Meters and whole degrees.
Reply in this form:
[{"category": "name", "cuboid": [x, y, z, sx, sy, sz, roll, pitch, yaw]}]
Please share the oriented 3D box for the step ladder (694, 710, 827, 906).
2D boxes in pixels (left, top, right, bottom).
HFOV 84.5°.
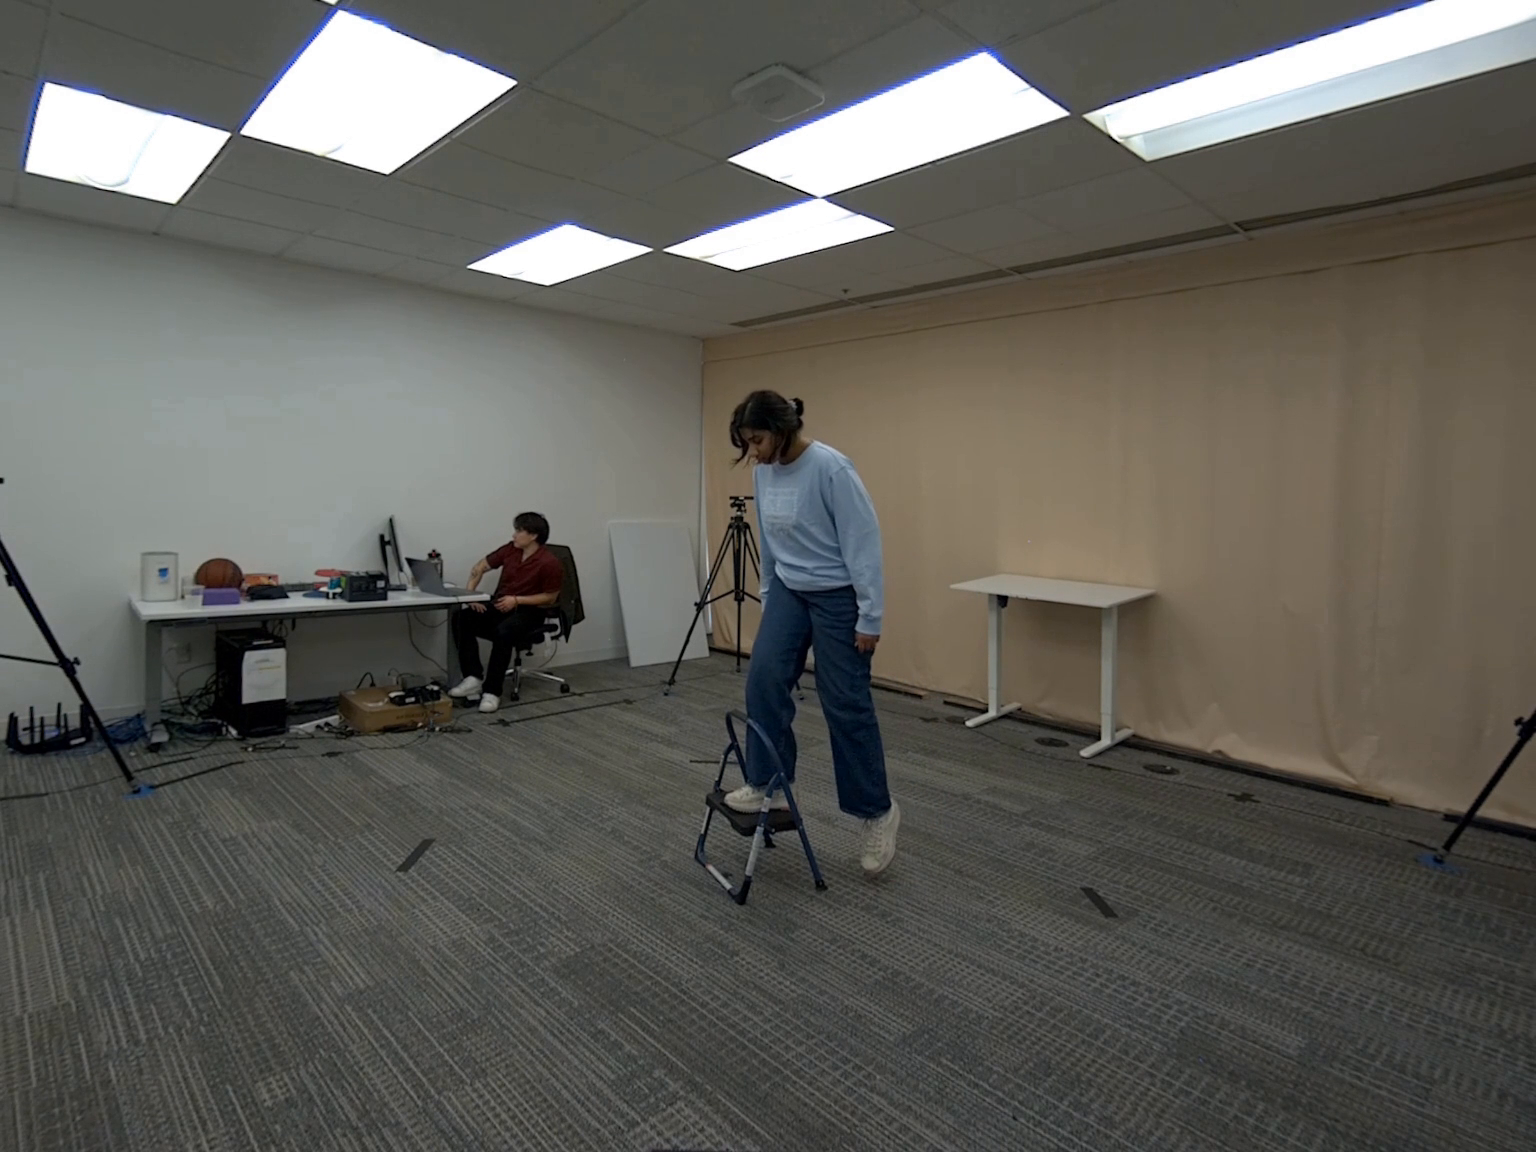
[{"category": "step ladder", "cuboid": [-0.038, 0.806, 3.110, 0.343, 0.604, 0.440, 0, 4, -27]}]
